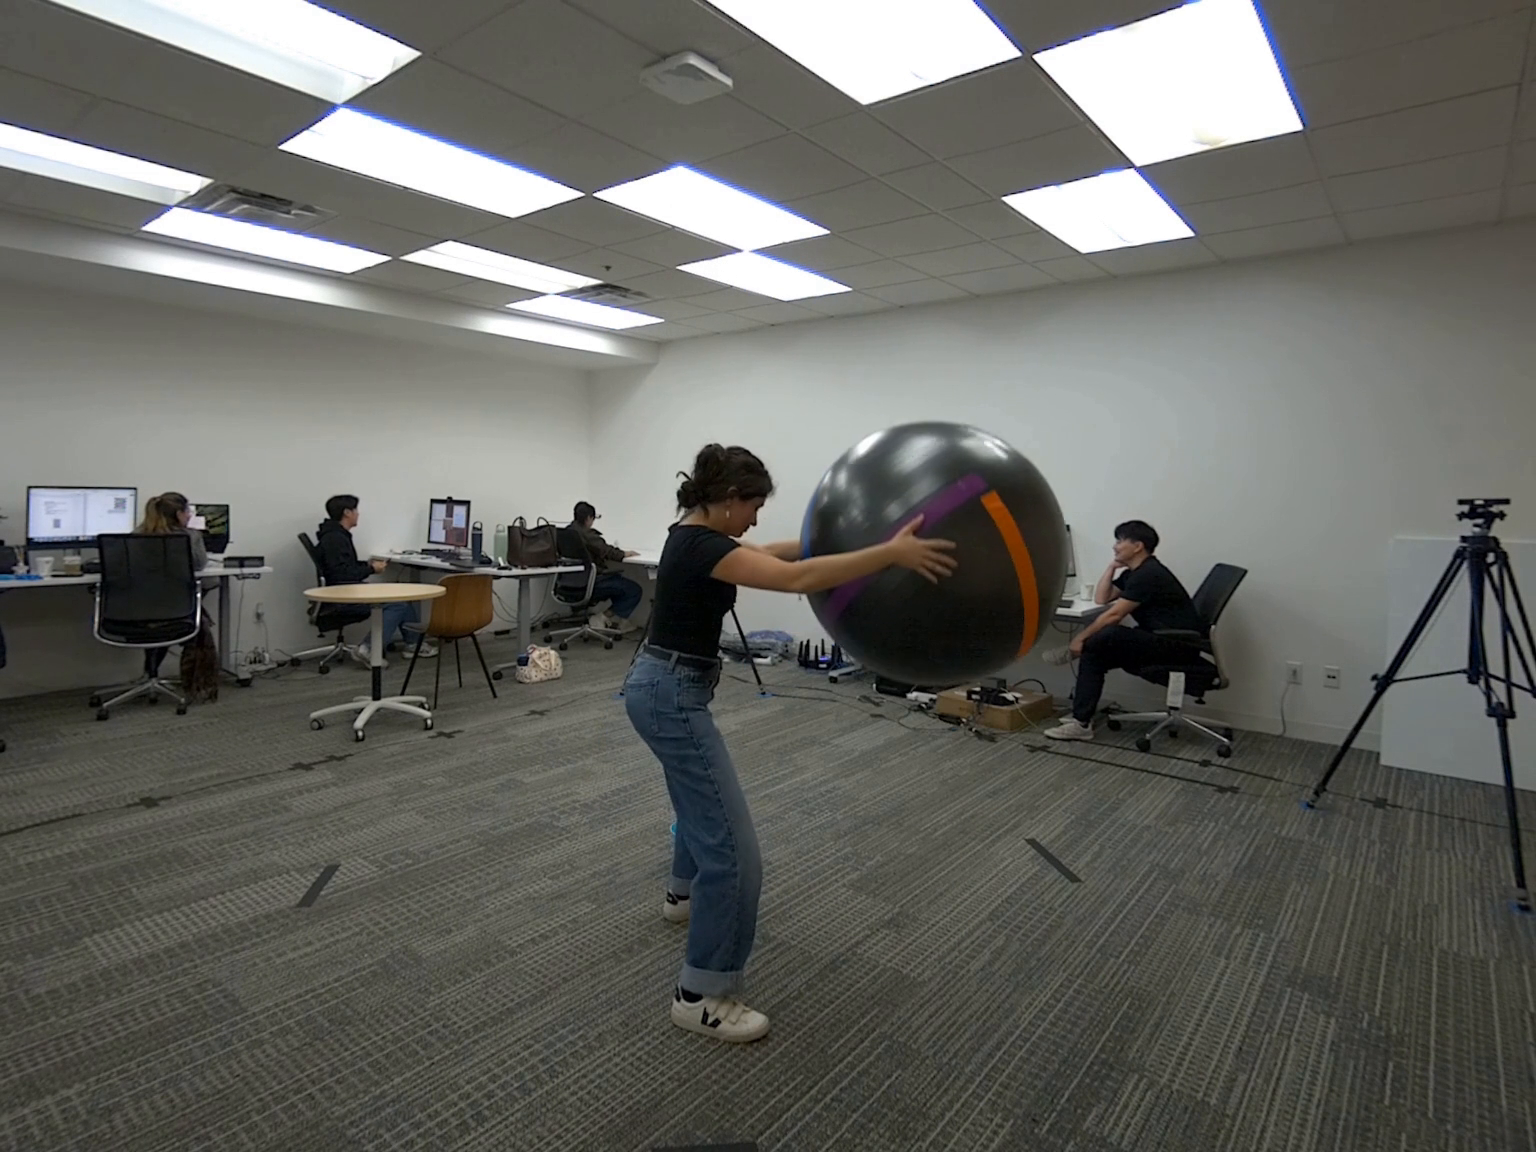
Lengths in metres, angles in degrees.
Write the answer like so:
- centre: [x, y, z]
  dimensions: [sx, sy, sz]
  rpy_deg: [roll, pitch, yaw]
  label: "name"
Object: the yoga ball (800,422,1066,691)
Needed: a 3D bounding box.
- centre: [0.461, -0.061, 2.469]
  dimensions: [0.757, 0.756, 0.762]
  rpy_deg: [1, 4, -2]
  label: "yoga ball"
